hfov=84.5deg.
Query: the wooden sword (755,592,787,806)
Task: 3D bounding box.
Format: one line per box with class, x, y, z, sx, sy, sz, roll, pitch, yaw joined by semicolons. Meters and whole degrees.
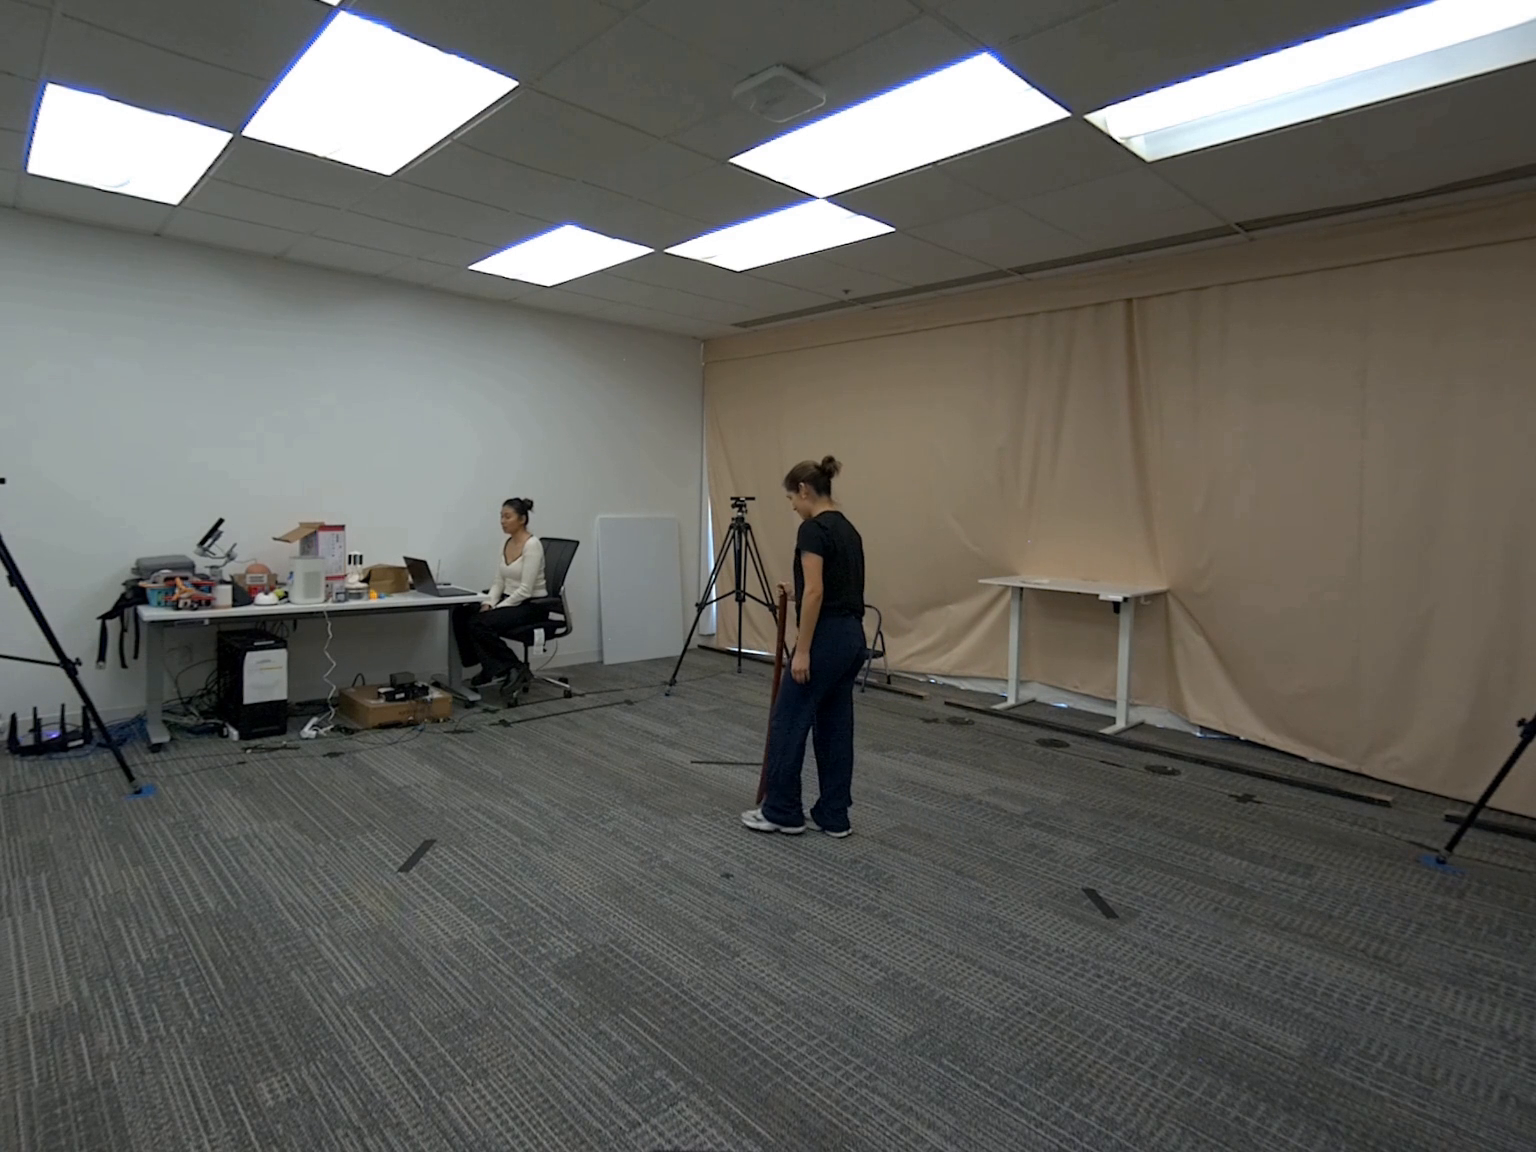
wooden sword;0.017;0.546;3.816;0.050;1.023;0.025;3;3;-41
